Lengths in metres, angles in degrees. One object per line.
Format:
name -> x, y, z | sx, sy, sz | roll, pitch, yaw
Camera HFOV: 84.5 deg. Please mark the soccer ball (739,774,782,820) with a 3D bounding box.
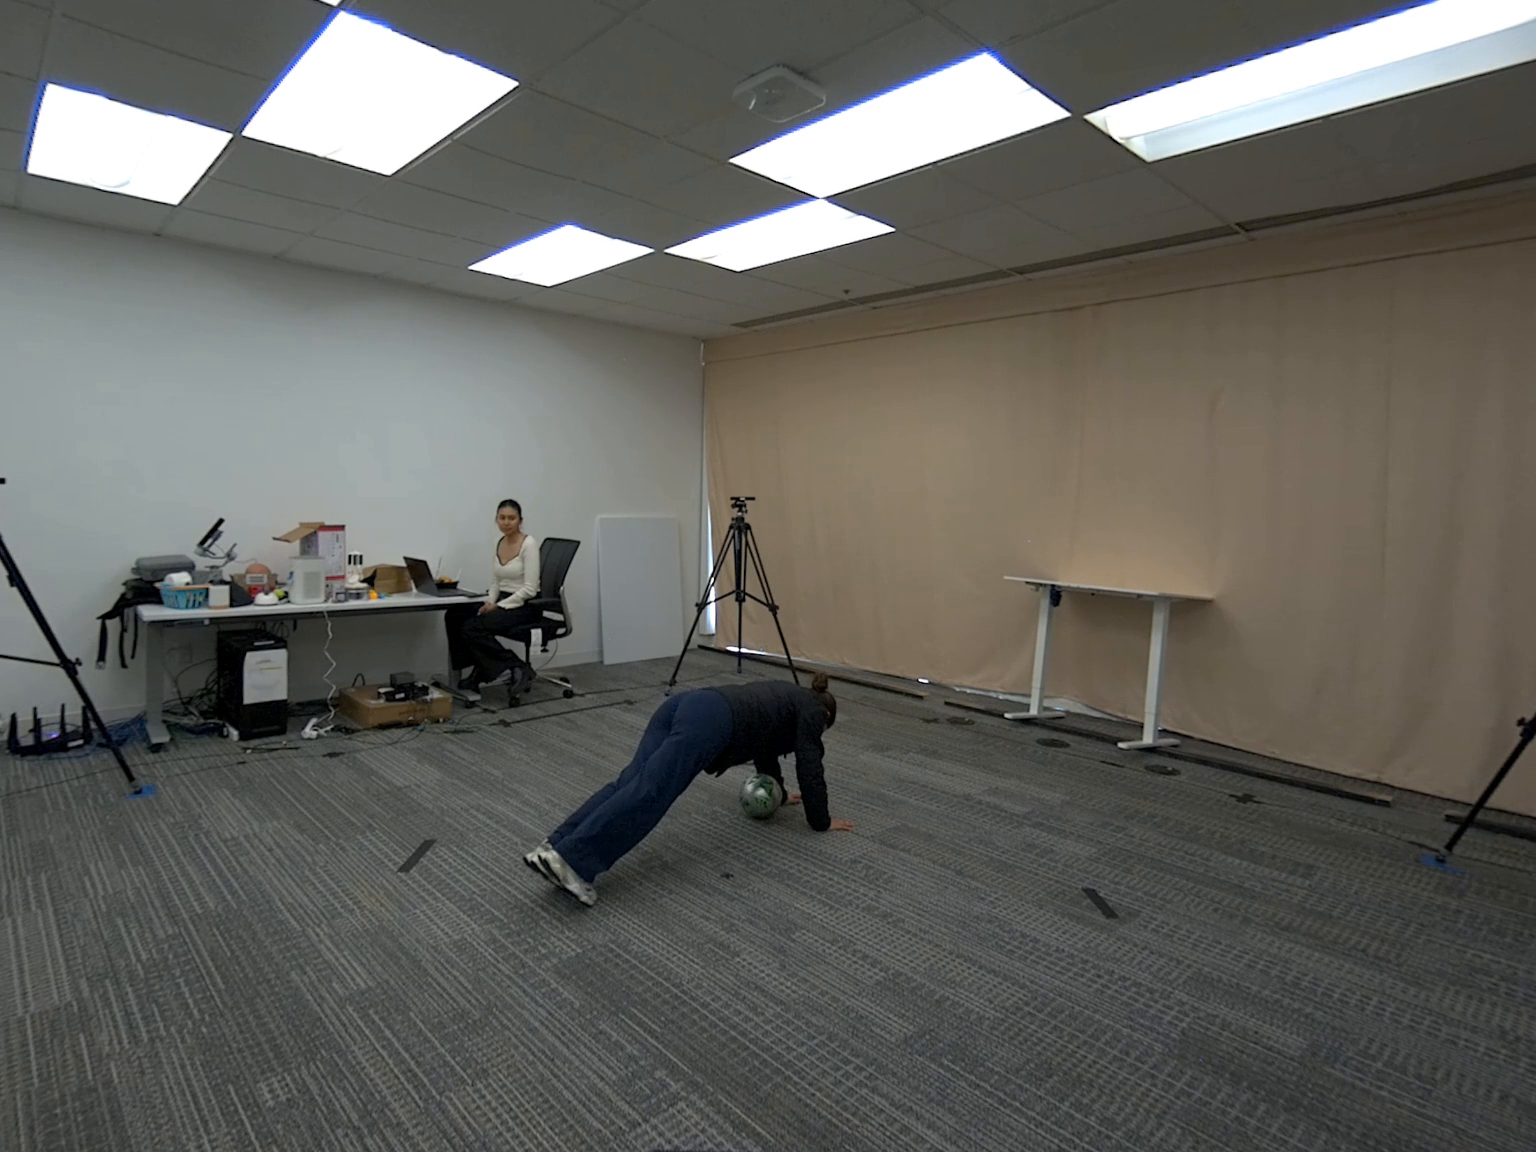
soccer ball -> -0.048, 0.969, 3.698 | 0.187, 0.187, 0.188 | 1, 4, -1
